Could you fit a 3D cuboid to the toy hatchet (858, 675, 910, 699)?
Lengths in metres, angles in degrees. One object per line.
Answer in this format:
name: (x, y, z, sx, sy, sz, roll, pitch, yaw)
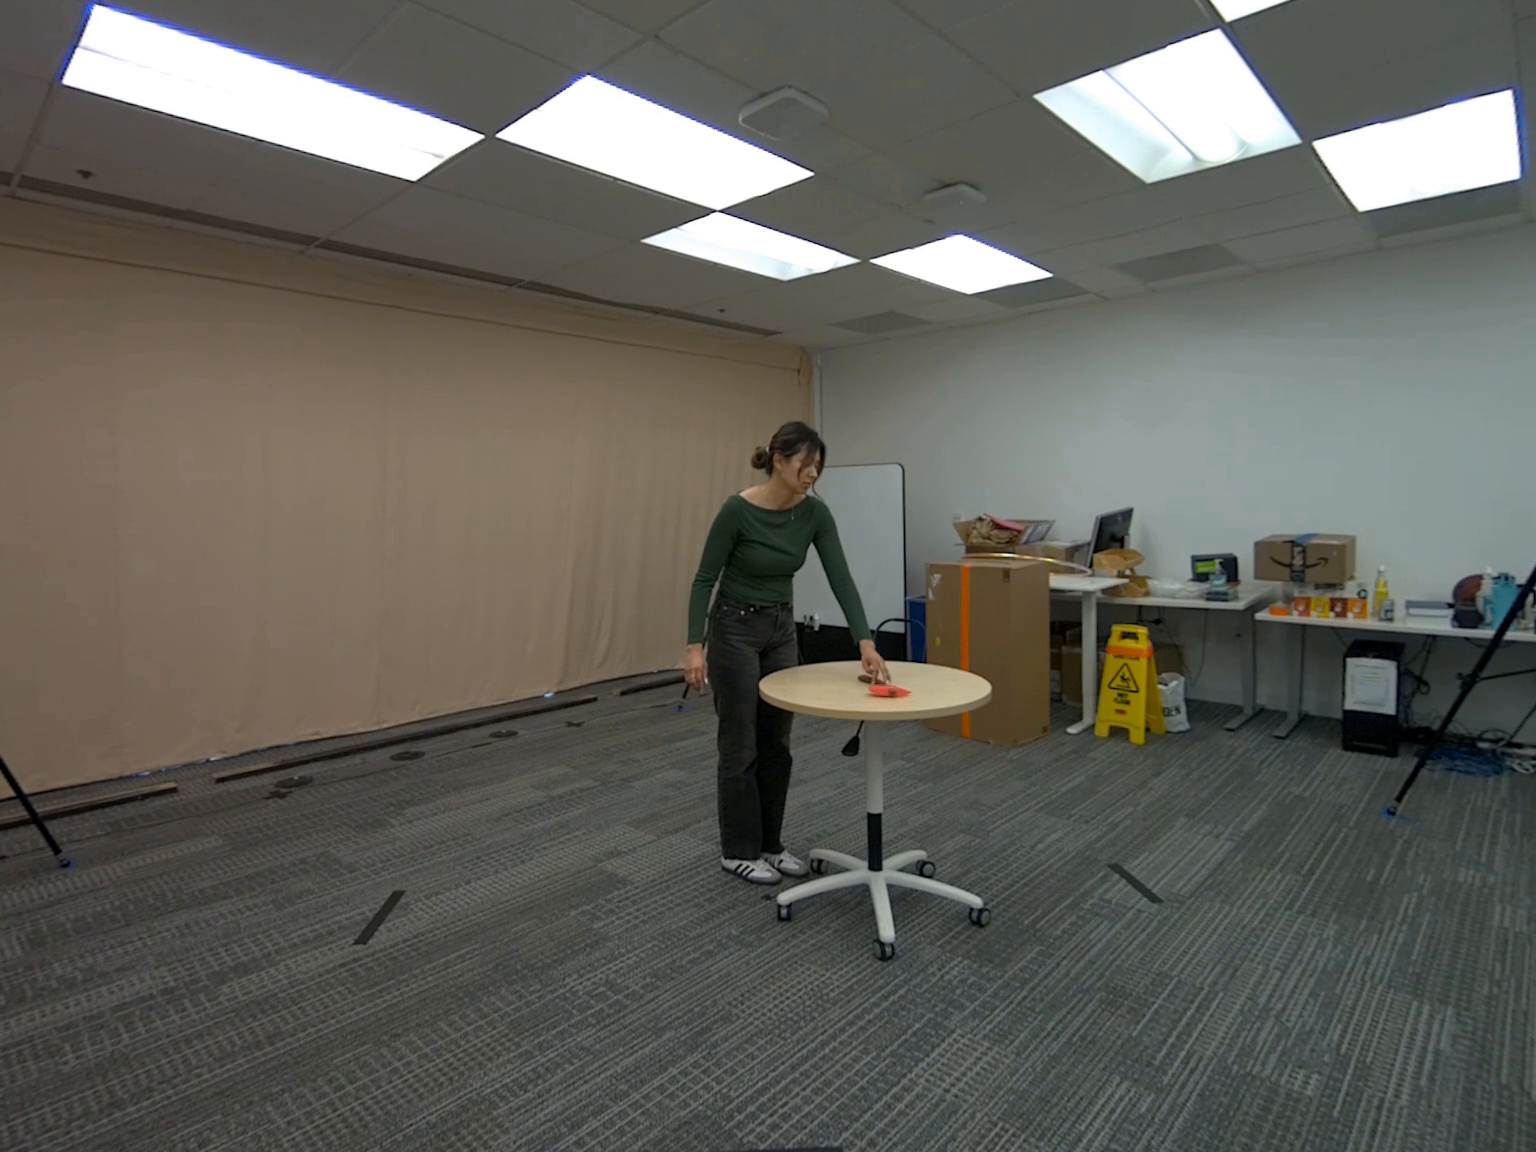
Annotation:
toy hatchet: (0.342, 0.356, 2.749, 0.128, 0.029, 0.277, 2, 3, -24)
